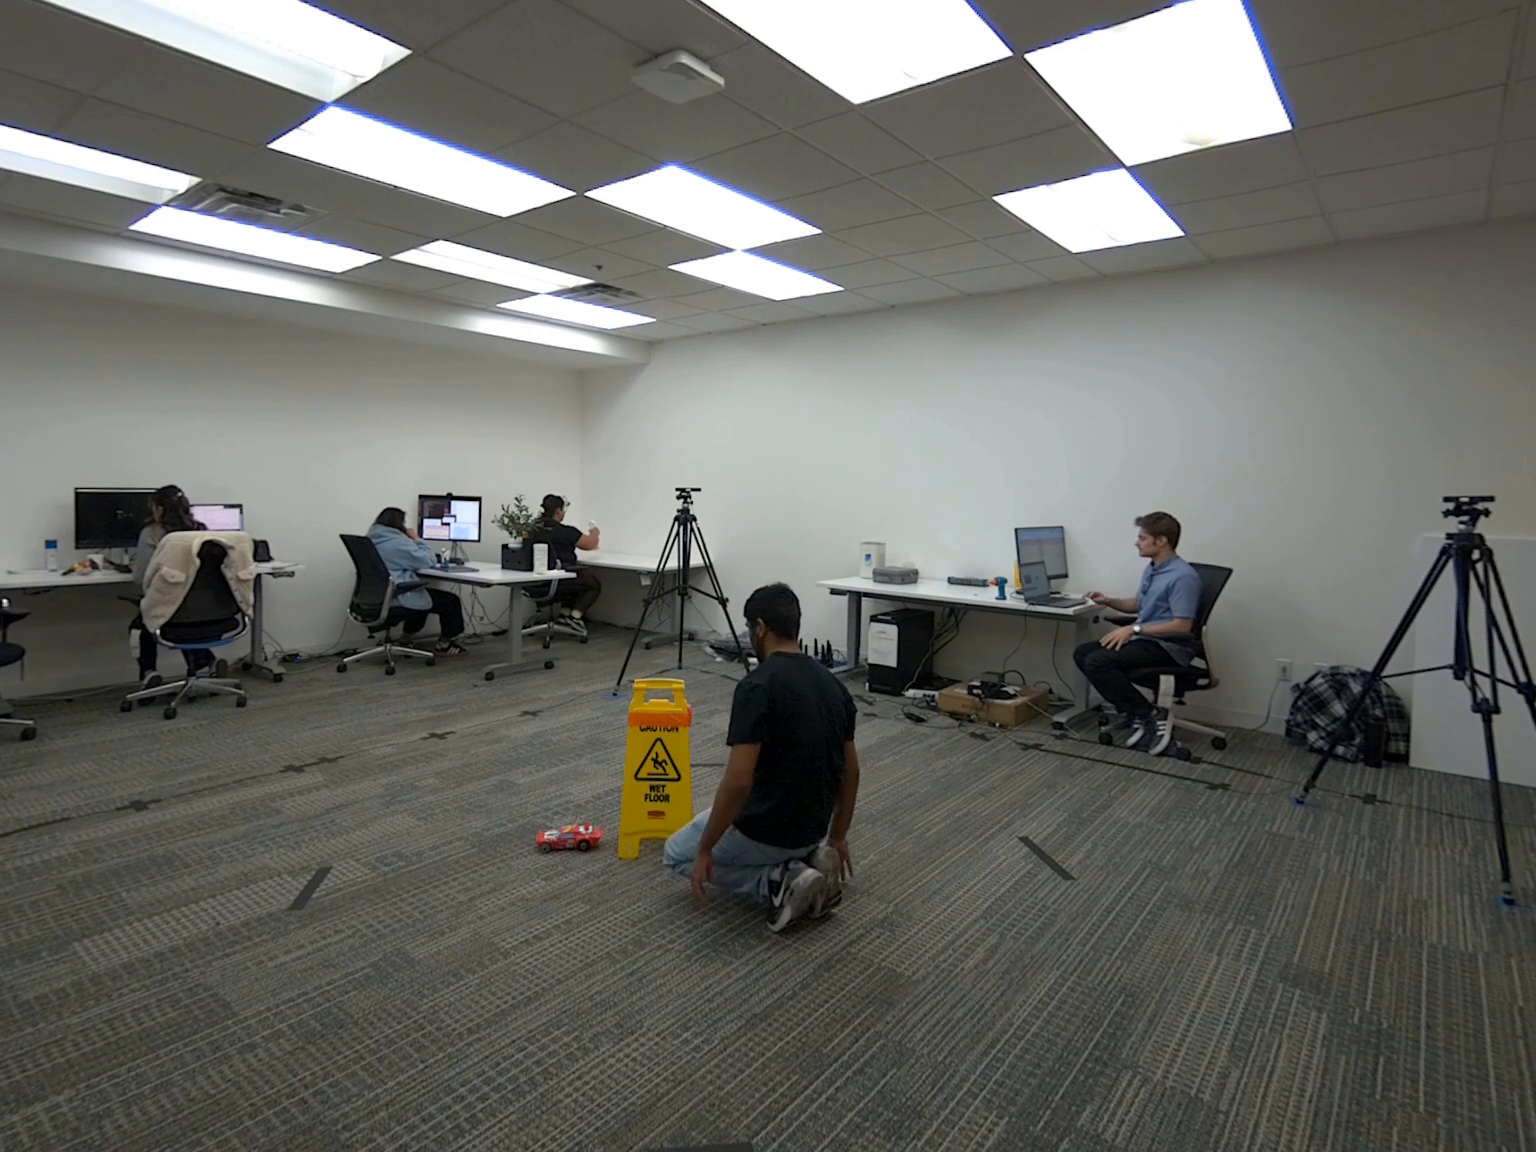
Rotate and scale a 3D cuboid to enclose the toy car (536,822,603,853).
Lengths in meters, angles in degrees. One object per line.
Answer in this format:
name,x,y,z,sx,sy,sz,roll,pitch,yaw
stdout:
toy car,-0.776,1.013,3.286,0.253,0.083,0.132,-11,7,-7
